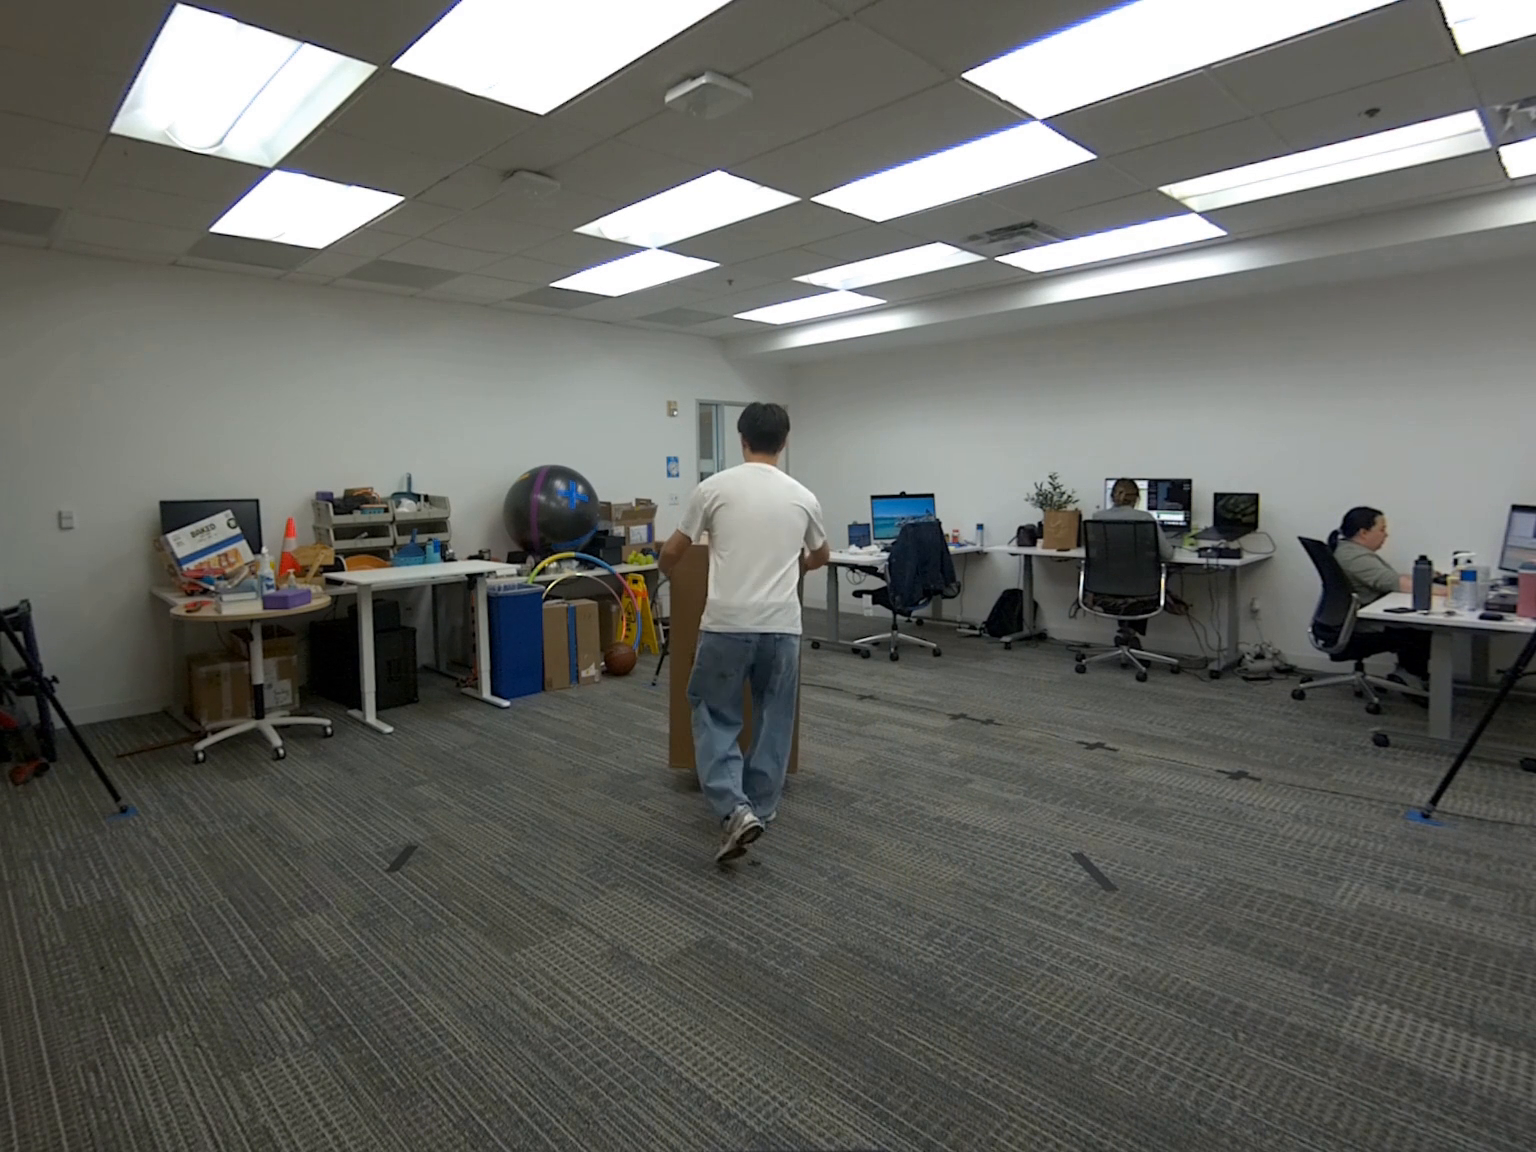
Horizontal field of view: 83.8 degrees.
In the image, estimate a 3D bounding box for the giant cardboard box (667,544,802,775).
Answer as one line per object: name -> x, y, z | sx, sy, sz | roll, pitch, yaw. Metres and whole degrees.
giant cardboard box -> -0.143, 0.324, 3.880 | 0.578, 1.015, 0.430 | 2, 11, 0
